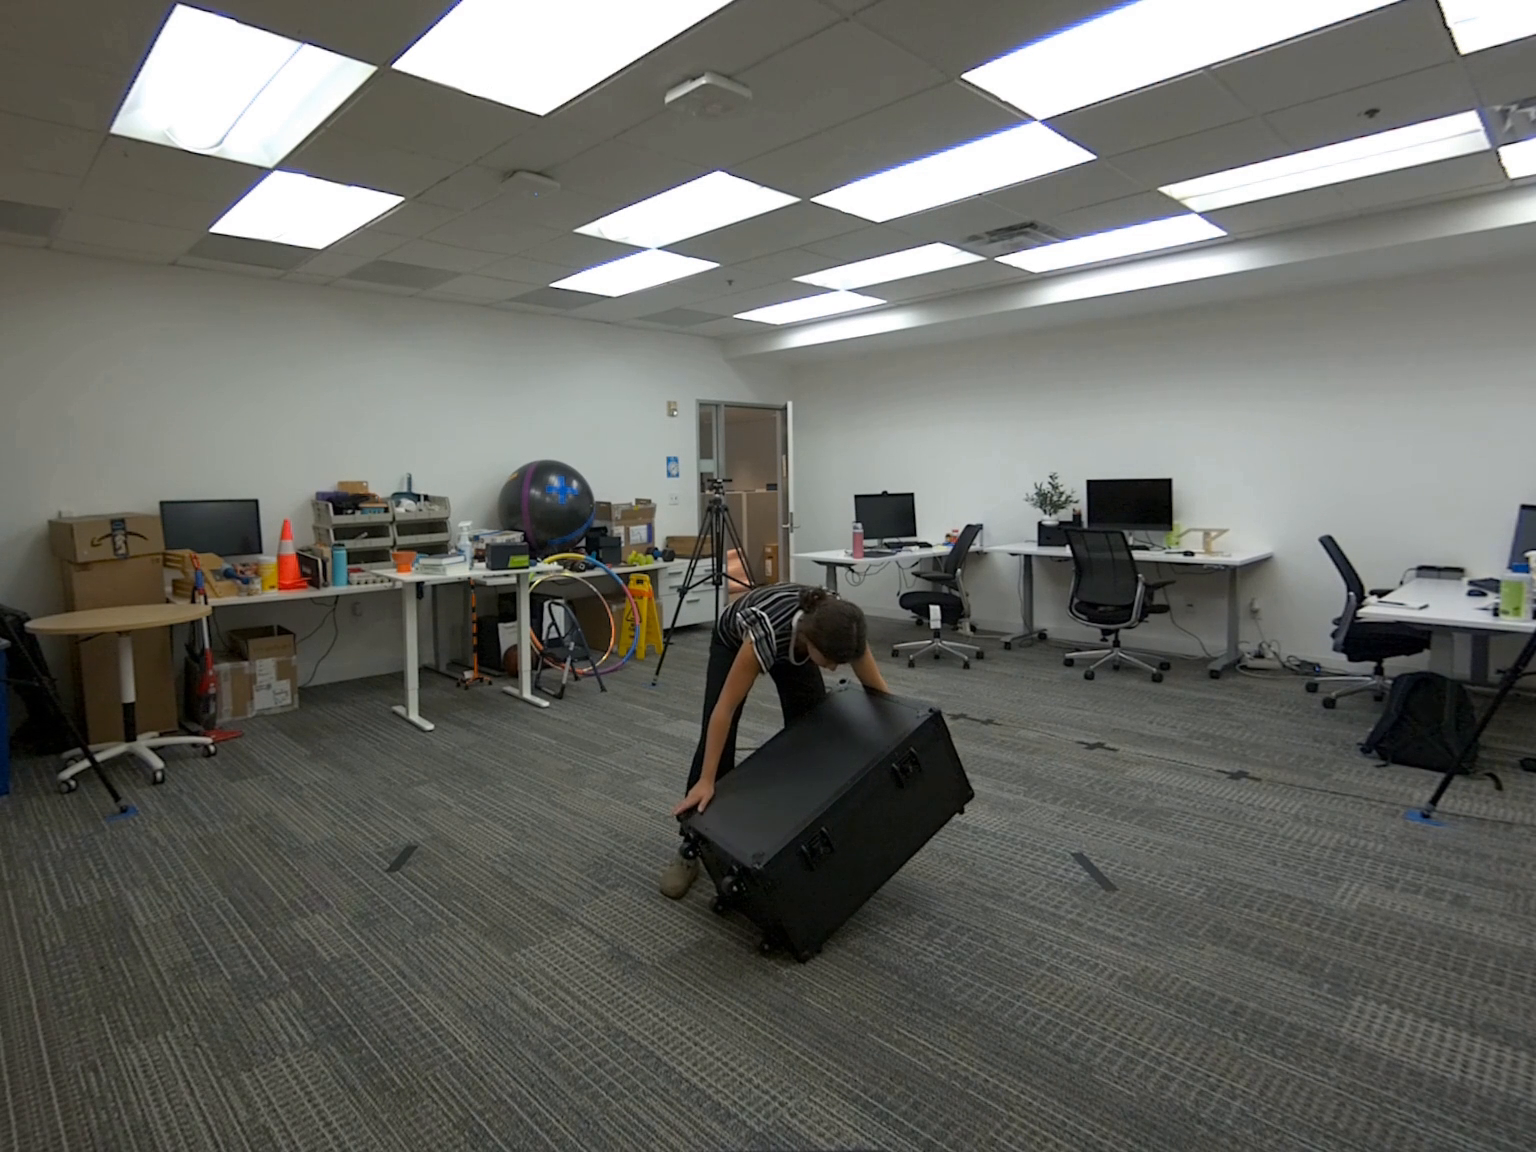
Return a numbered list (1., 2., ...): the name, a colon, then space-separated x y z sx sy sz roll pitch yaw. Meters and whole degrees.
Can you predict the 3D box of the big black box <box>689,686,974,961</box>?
1. big black box: 0.175 0.772 2.755 0.855 0.388 0.536 -34 20 -25
